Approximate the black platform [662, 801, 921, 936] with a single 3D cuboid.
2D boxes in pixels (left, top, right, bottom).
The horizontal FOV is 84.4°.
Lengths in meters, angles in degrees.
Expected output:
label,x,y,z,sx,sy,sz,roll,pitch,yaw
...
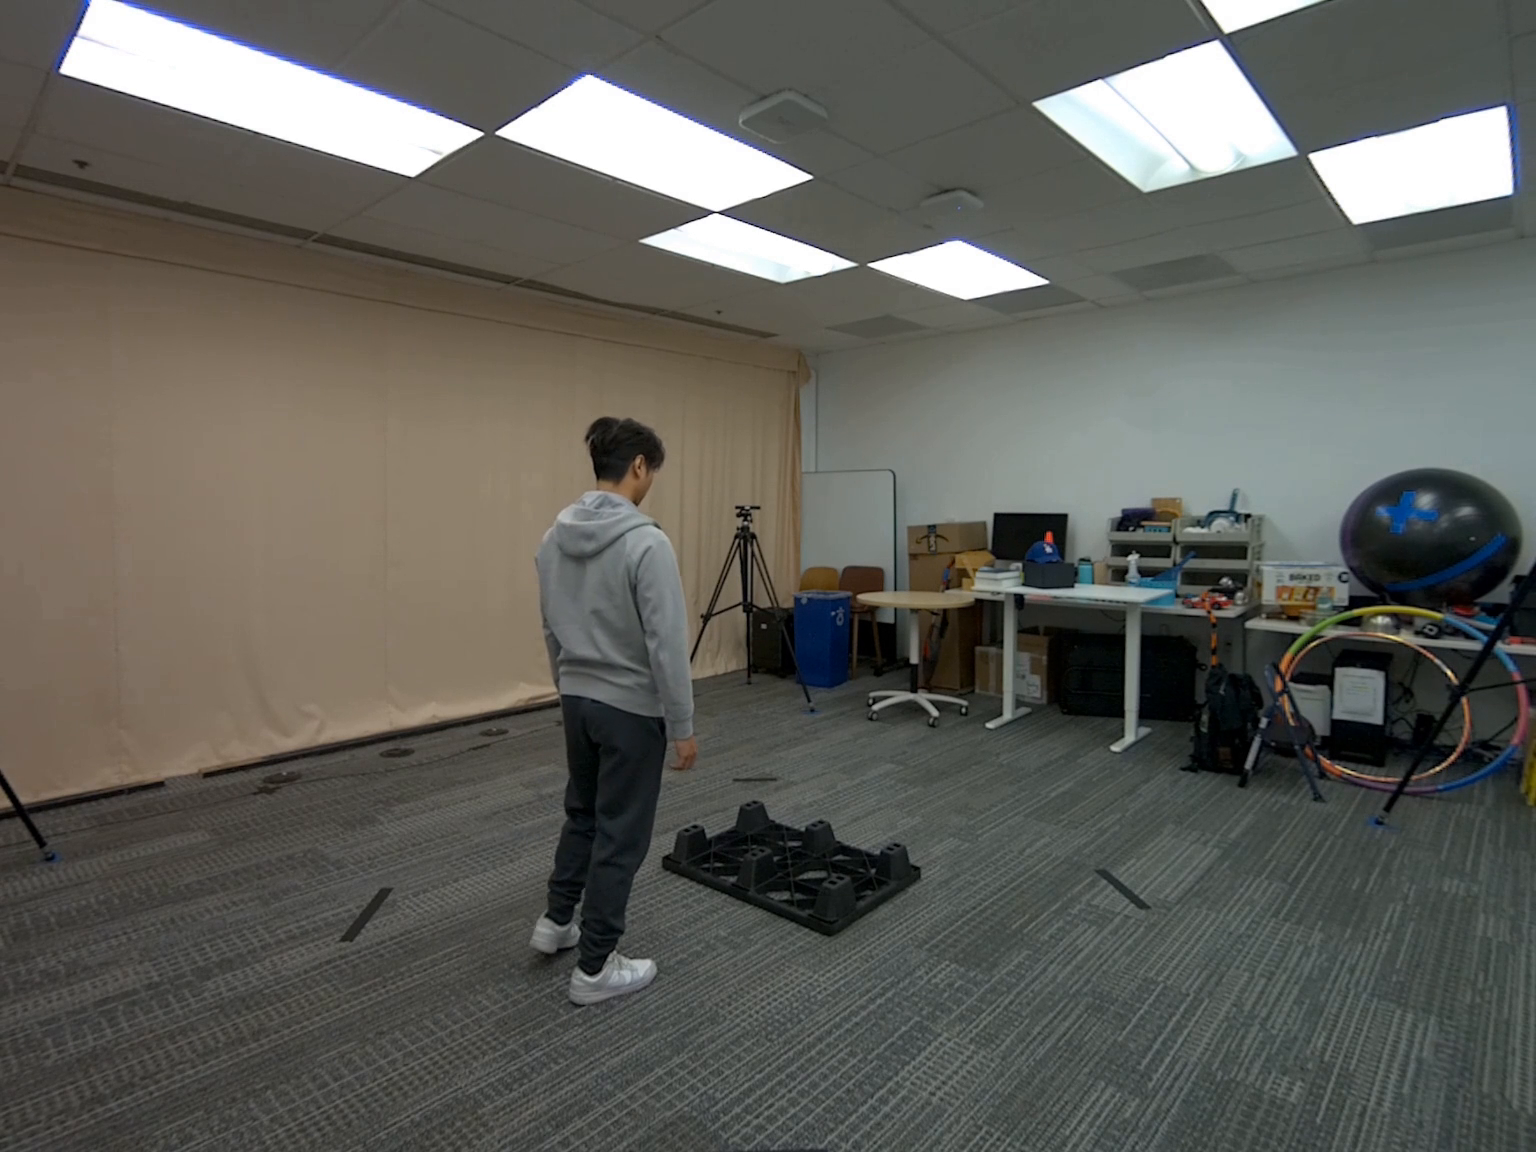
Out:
label,x,y,z,sx,sy,sz,roll,pitch,yaw
black platform,0.090,1.060,3.193,0.832,0.143,0.587,4,7,40
